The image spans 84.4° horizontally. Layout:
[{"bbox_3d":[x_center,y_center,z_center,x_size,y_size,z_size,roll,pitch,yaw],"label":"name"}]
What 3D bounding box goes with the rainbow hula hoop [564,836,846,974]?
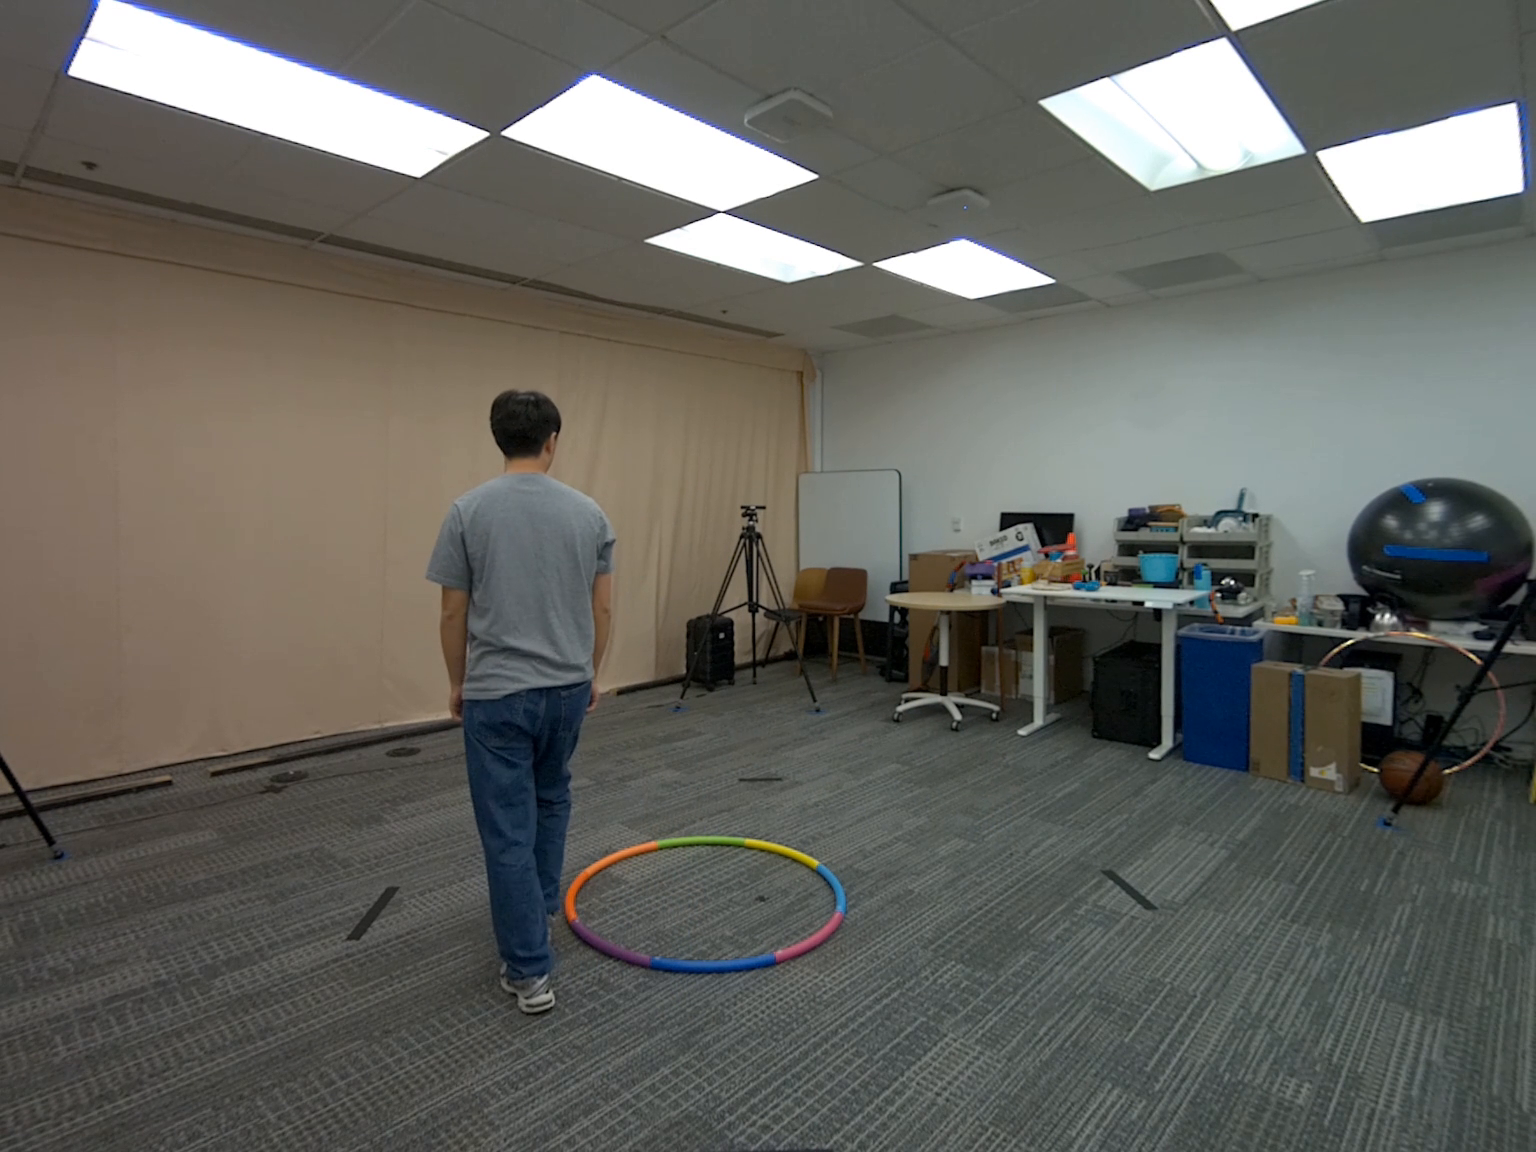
[{"bbox_3d":[-0.219,1.114,2.989,0.978,0.035,0.982,-1,5,-2],"label":"rainbow hula hoop"}]
